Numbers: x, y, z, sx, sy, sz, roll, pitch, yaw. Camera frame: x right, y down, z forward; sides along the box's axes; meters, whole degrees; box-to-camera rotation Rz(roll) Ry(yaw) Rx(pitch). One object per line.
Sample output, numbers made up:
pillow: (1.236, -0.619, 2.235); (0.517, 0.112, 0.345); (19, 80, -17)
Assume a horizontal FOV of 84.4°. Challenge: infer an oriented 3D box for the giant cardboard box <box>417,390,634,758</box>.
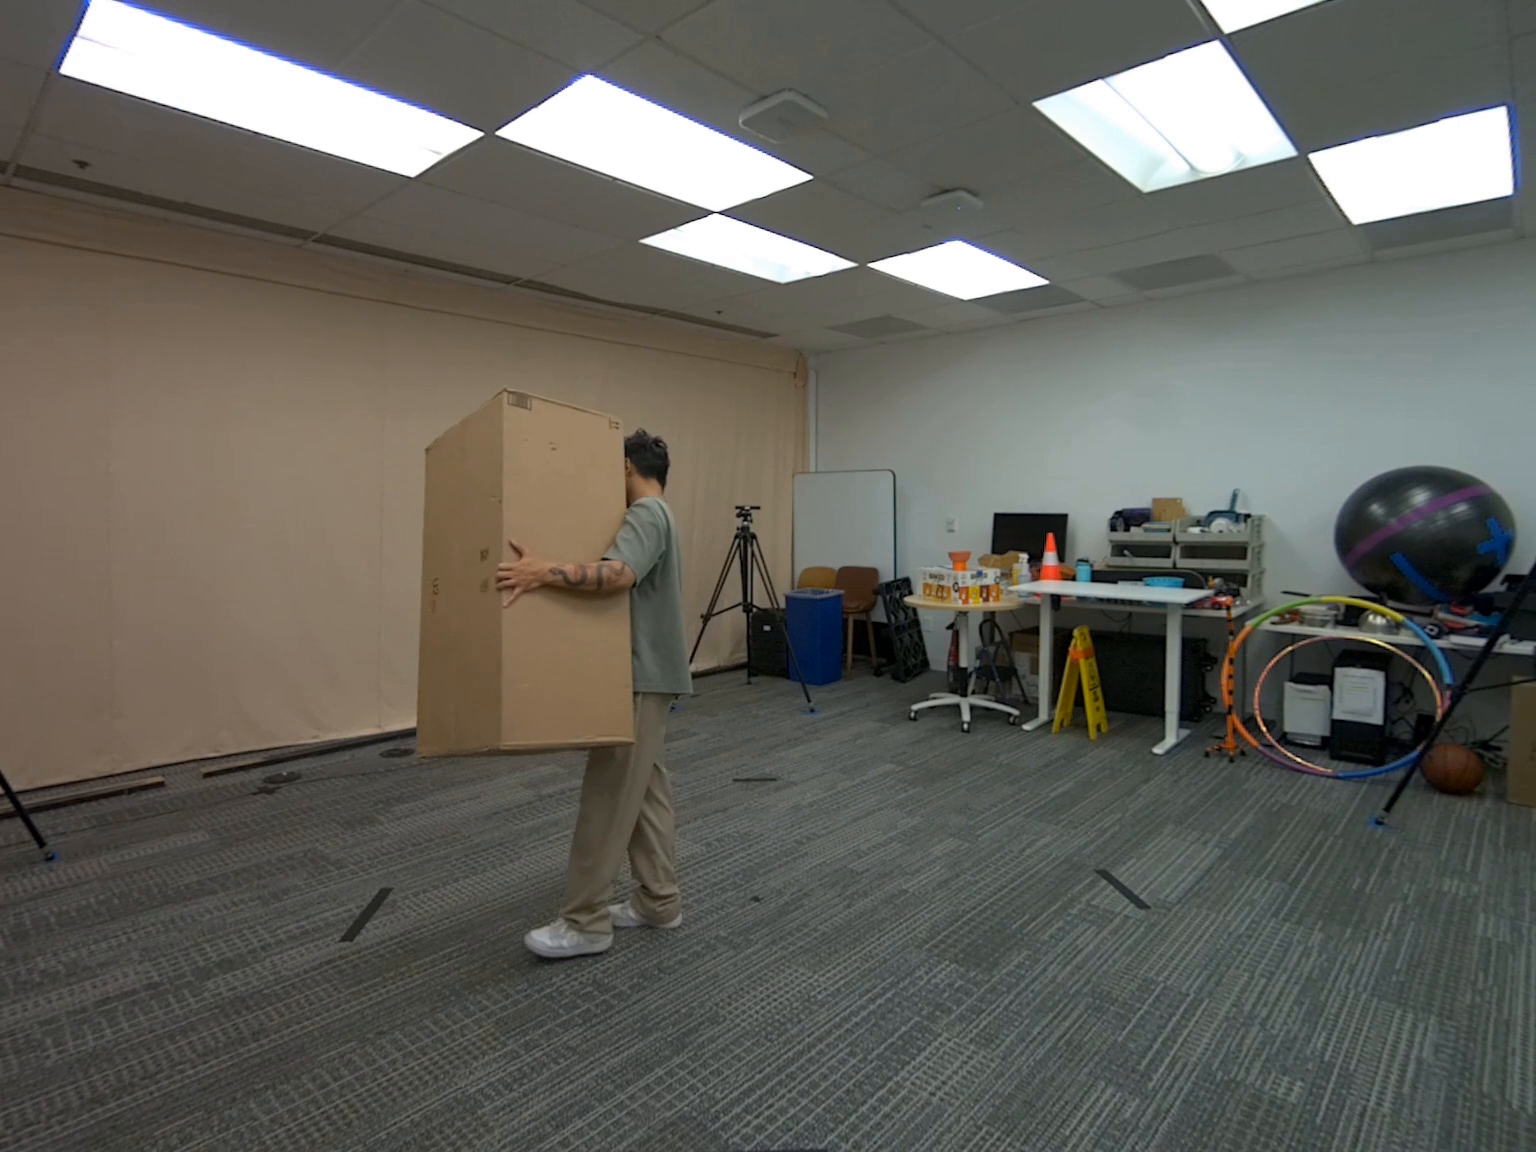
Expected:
giant cardboard box: (-0.768, 0.035, 2.641); (0.412, 1.036, 0.591); (8, -19, -41)
